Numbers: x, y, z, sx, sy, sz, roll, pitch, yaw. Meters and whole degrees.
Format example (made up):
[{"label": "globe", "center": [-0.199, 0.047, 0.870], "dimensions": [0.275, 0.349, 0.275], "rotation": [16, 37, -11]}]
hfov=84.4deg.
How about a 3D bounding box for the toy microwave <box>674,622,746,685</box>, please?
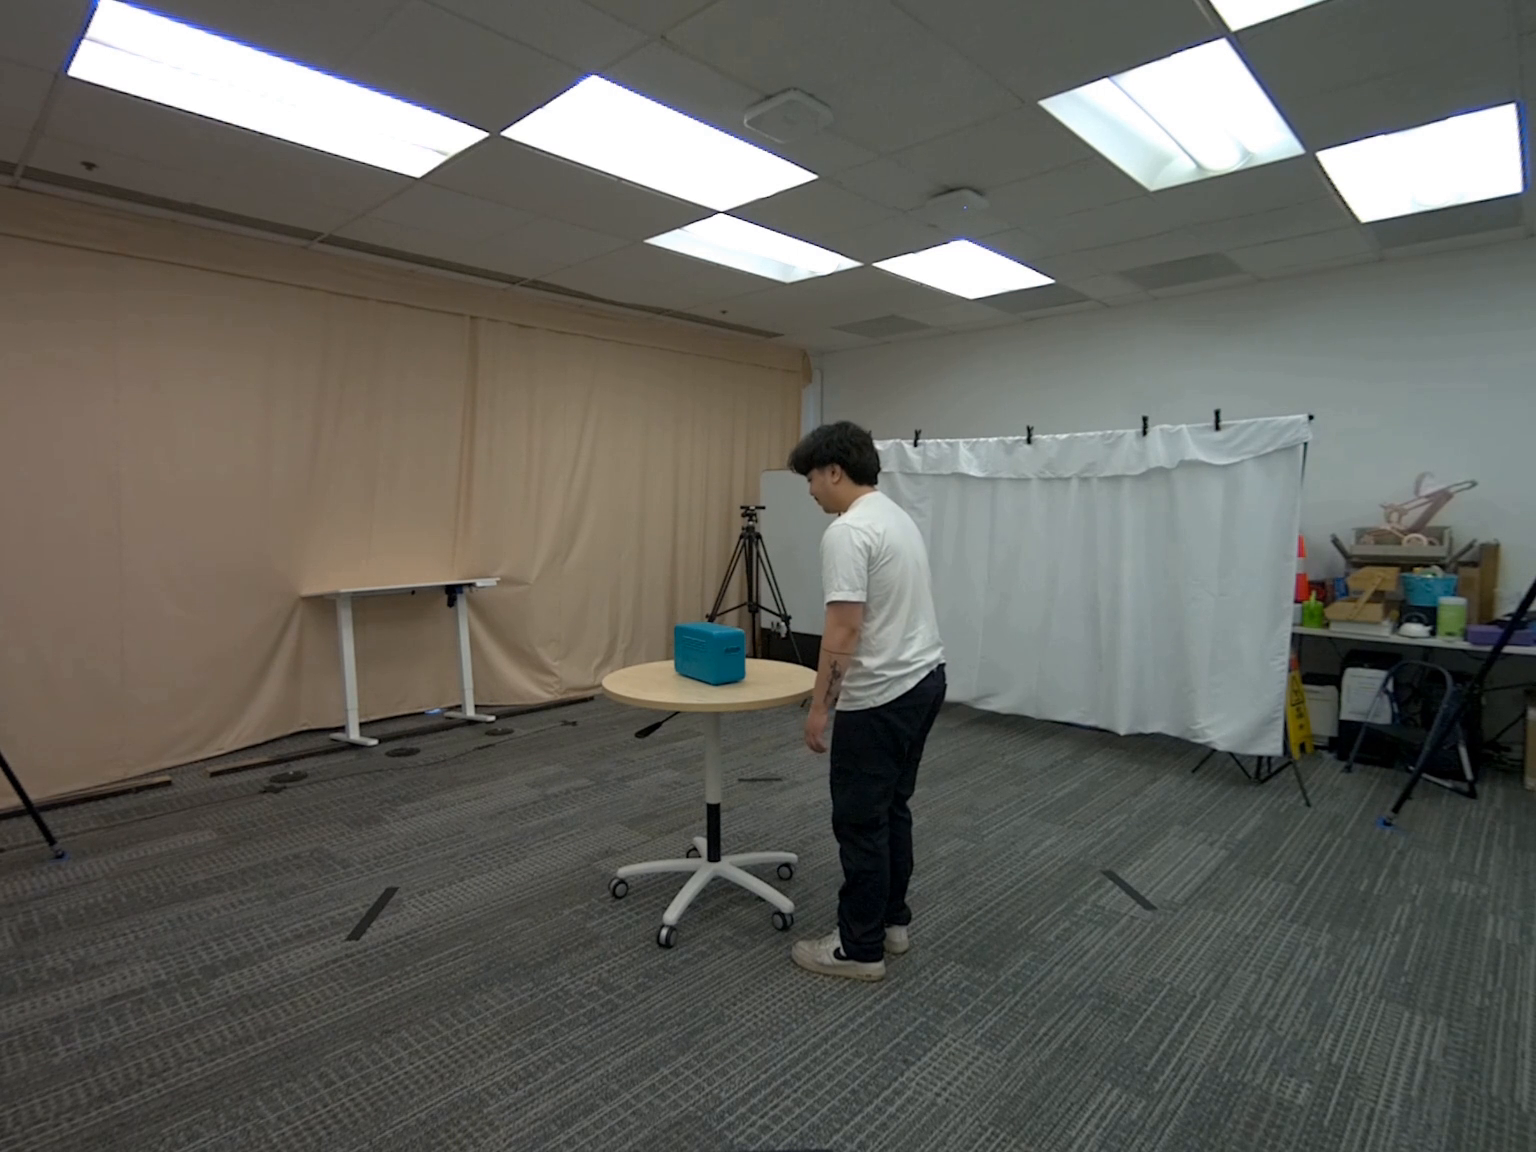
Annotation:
[{"label": "toy microwave", "center": [-0.196, 0.265, 2.940], "dimensions": [0.148, 0.184, 0.295], "rotation": [-3, 4, -34]}]
